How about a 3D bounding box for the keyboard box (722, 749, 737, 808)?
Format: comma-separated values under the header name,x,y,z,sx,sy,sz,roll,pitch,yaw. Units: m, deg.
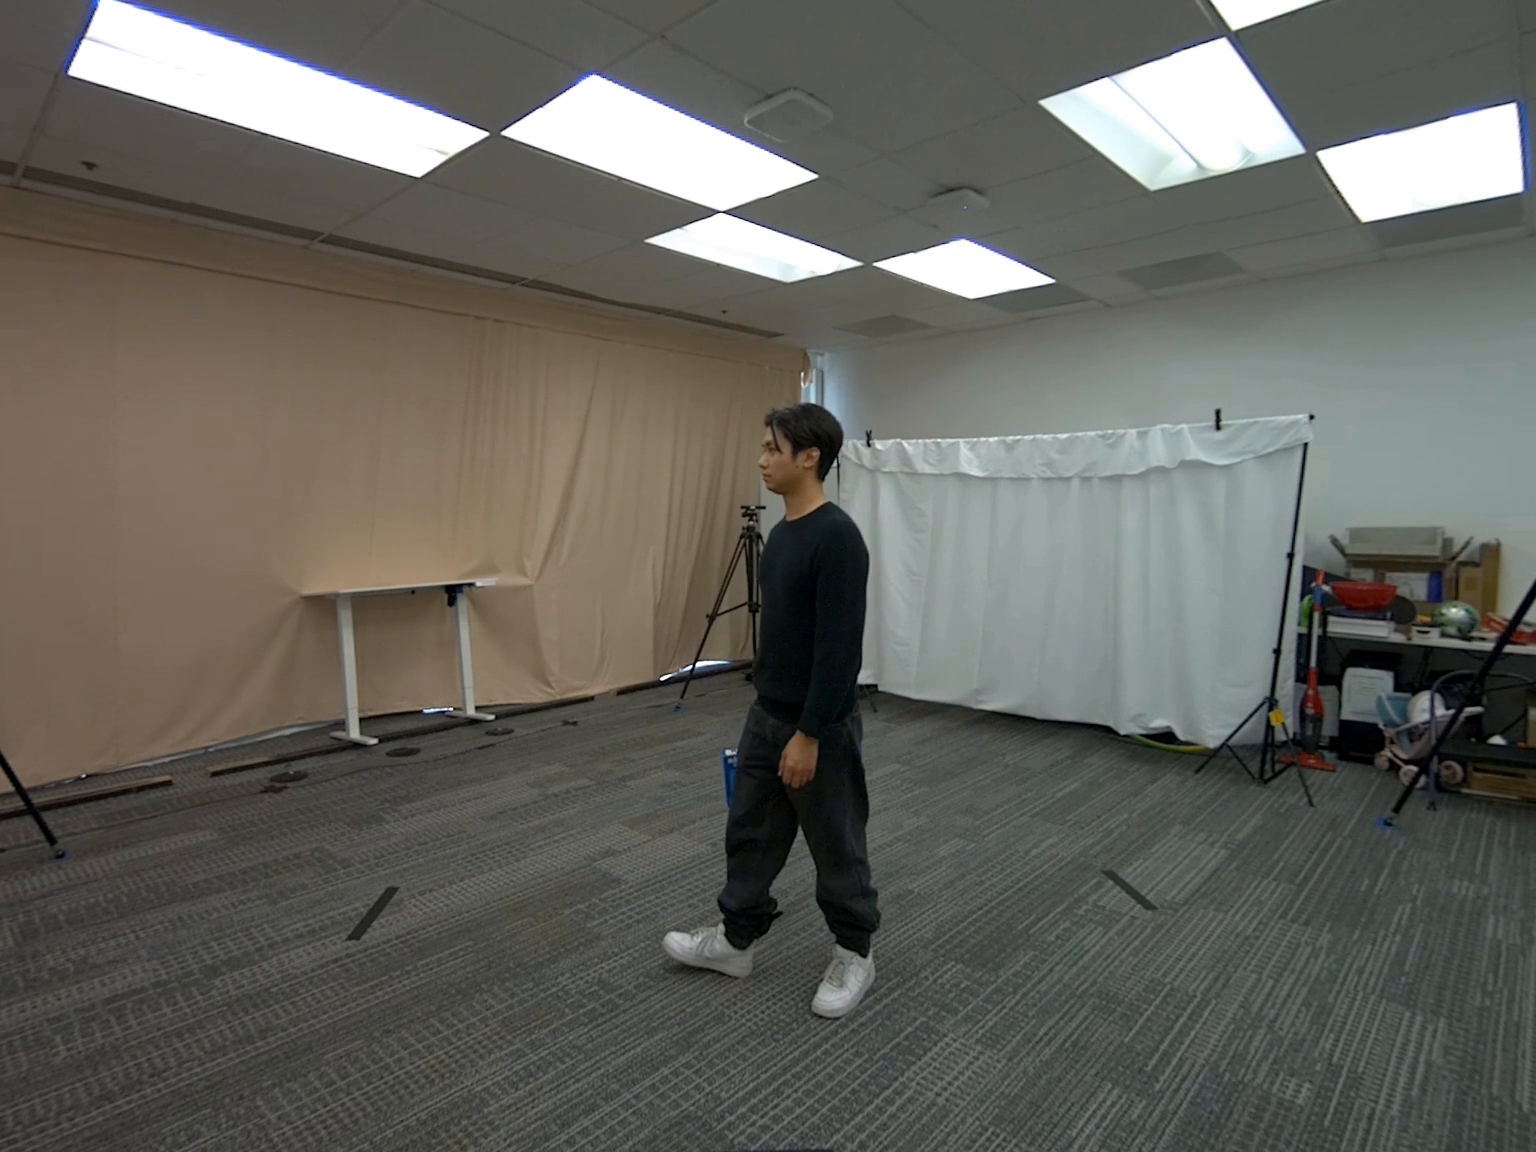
name,x,y,z,sx,sy,sz,roll,pitch,yaw
keyboard box,0.079,0.616,2.655,0.435,0.175,0.059,-5,6,-3
